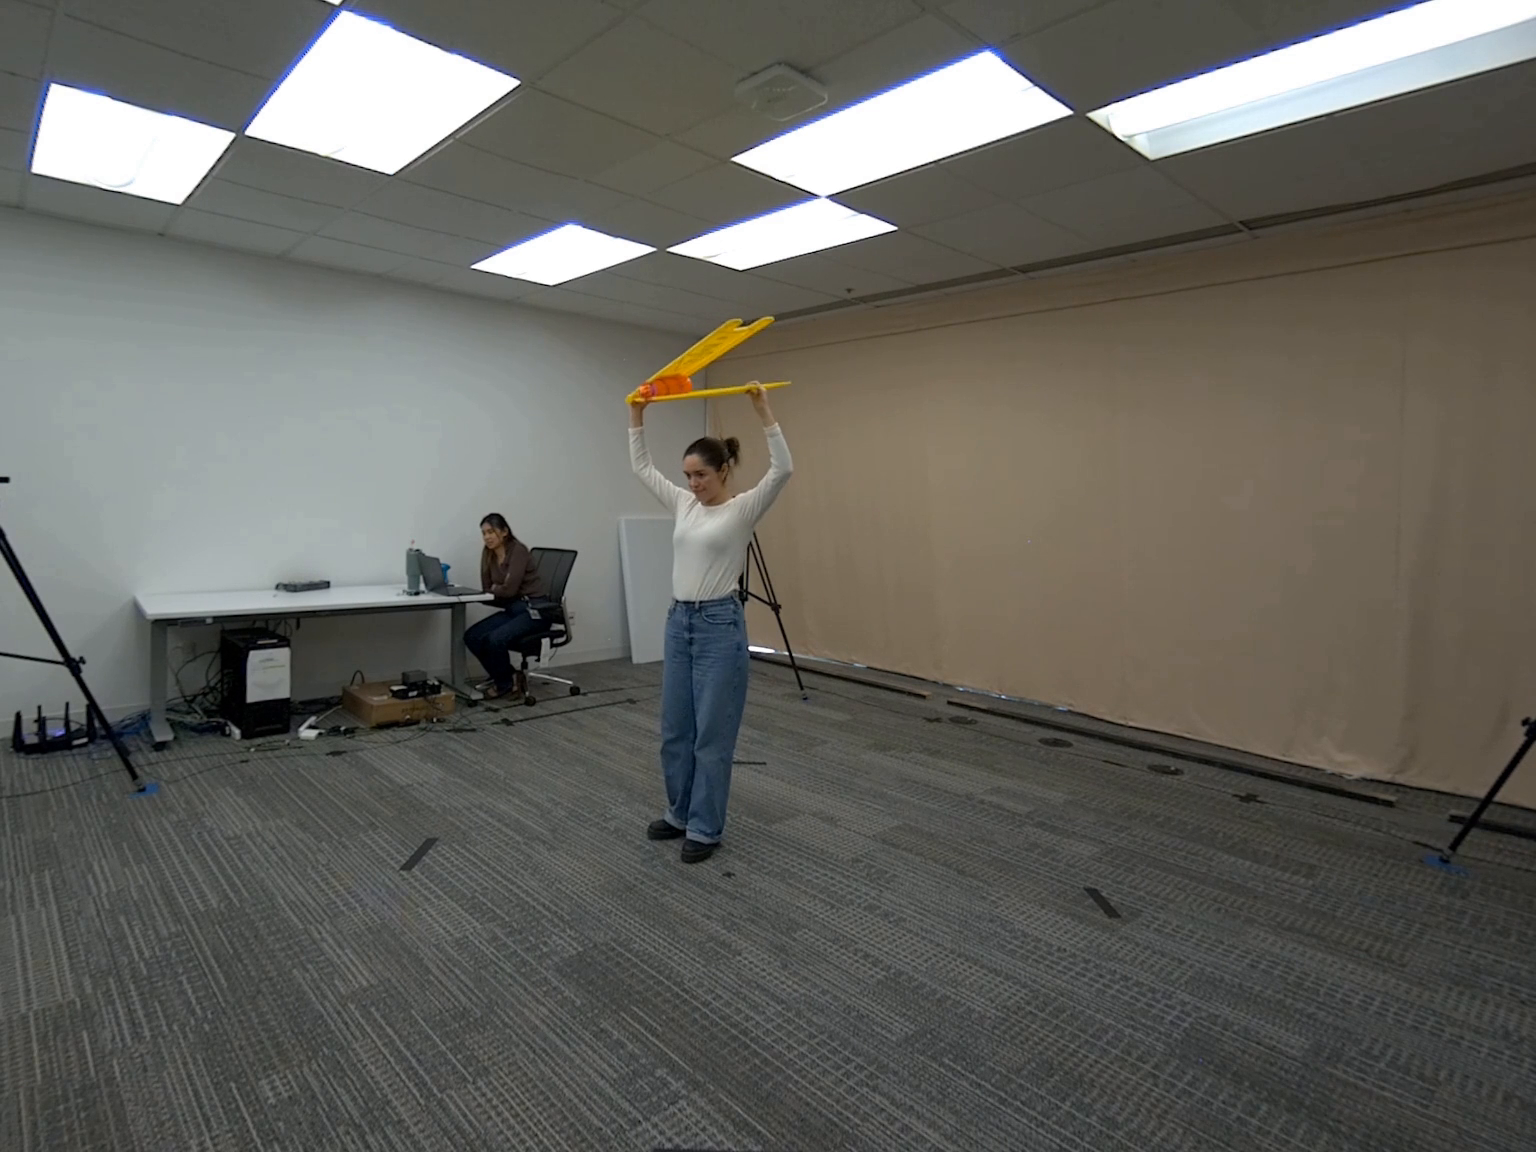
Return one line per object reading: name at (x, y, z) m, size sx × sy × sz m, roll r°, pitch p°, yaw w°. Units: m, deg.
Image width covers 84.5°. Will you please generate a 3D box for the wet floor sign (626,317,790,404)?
wet floor sign at (-0.285, -0.775, 3.268) m, size 0.658 × 0.288 × 0.278 m, roll -8°, pitch 9°, yaw 38°
